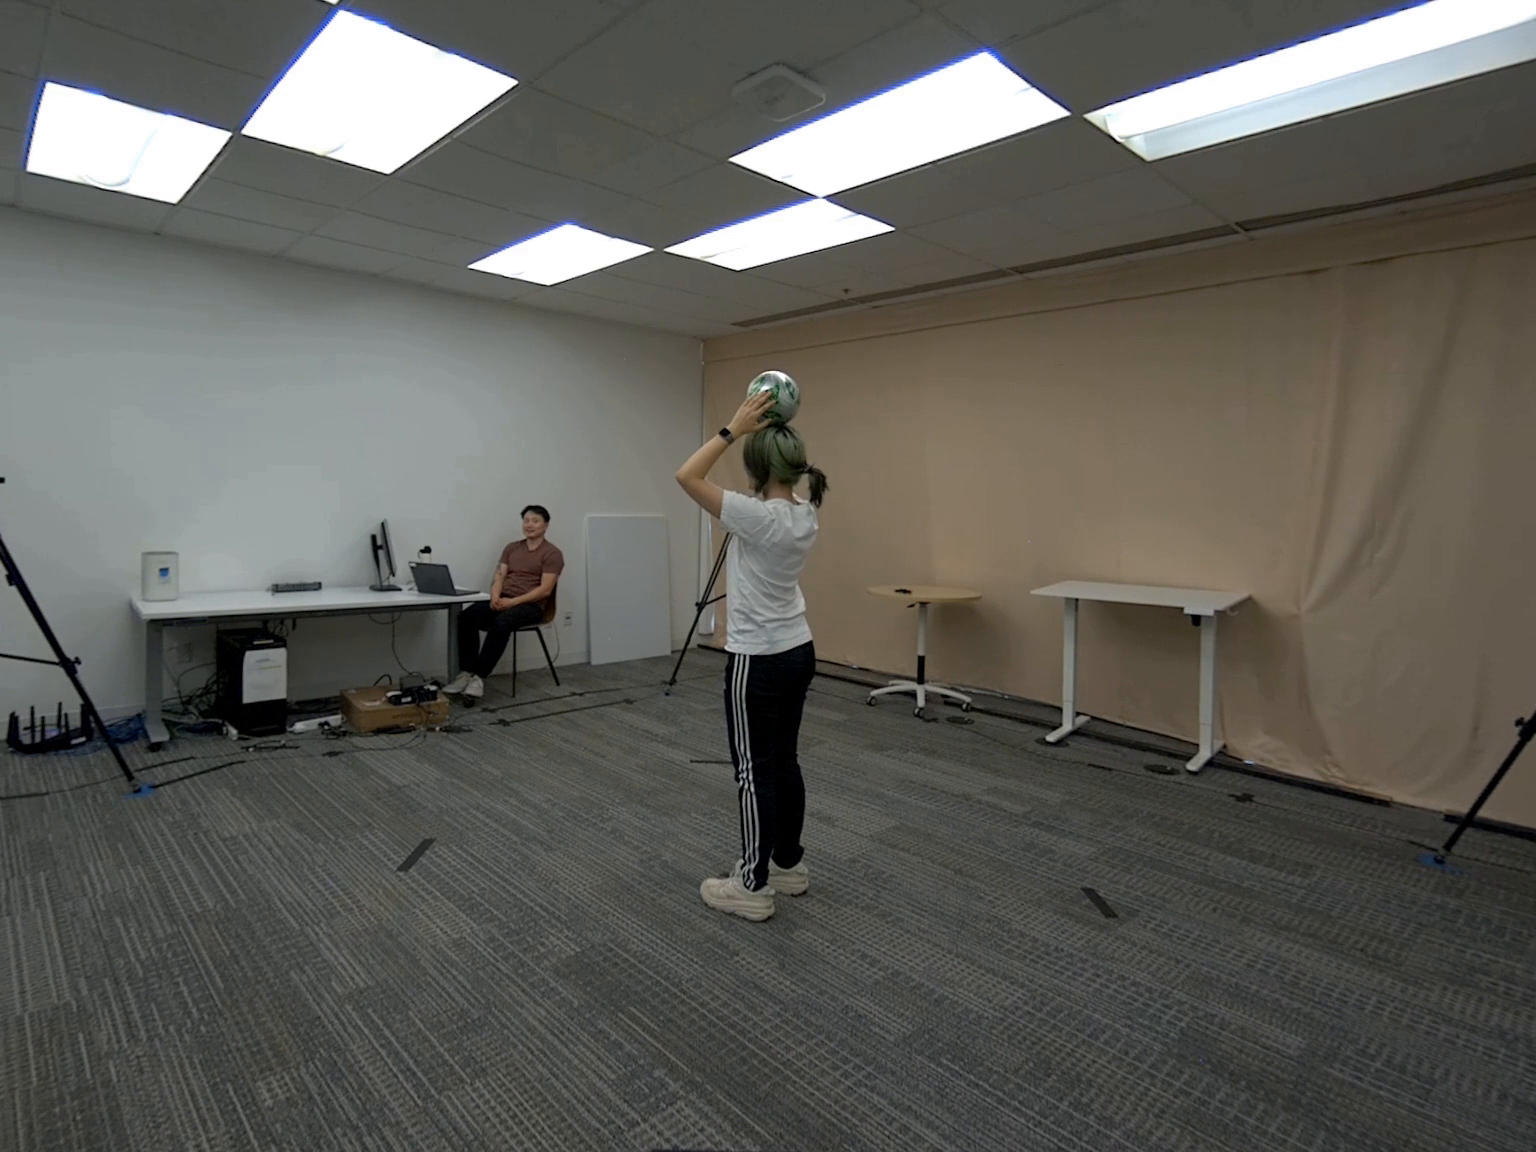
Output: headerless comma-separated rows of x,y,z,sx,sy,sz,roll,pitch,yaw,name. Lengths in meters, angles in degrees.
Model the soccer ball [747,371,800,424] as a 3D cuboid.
0.013,-0.596,2.837,0.187,0.187,0.188,1,4,-1,soccer ball
